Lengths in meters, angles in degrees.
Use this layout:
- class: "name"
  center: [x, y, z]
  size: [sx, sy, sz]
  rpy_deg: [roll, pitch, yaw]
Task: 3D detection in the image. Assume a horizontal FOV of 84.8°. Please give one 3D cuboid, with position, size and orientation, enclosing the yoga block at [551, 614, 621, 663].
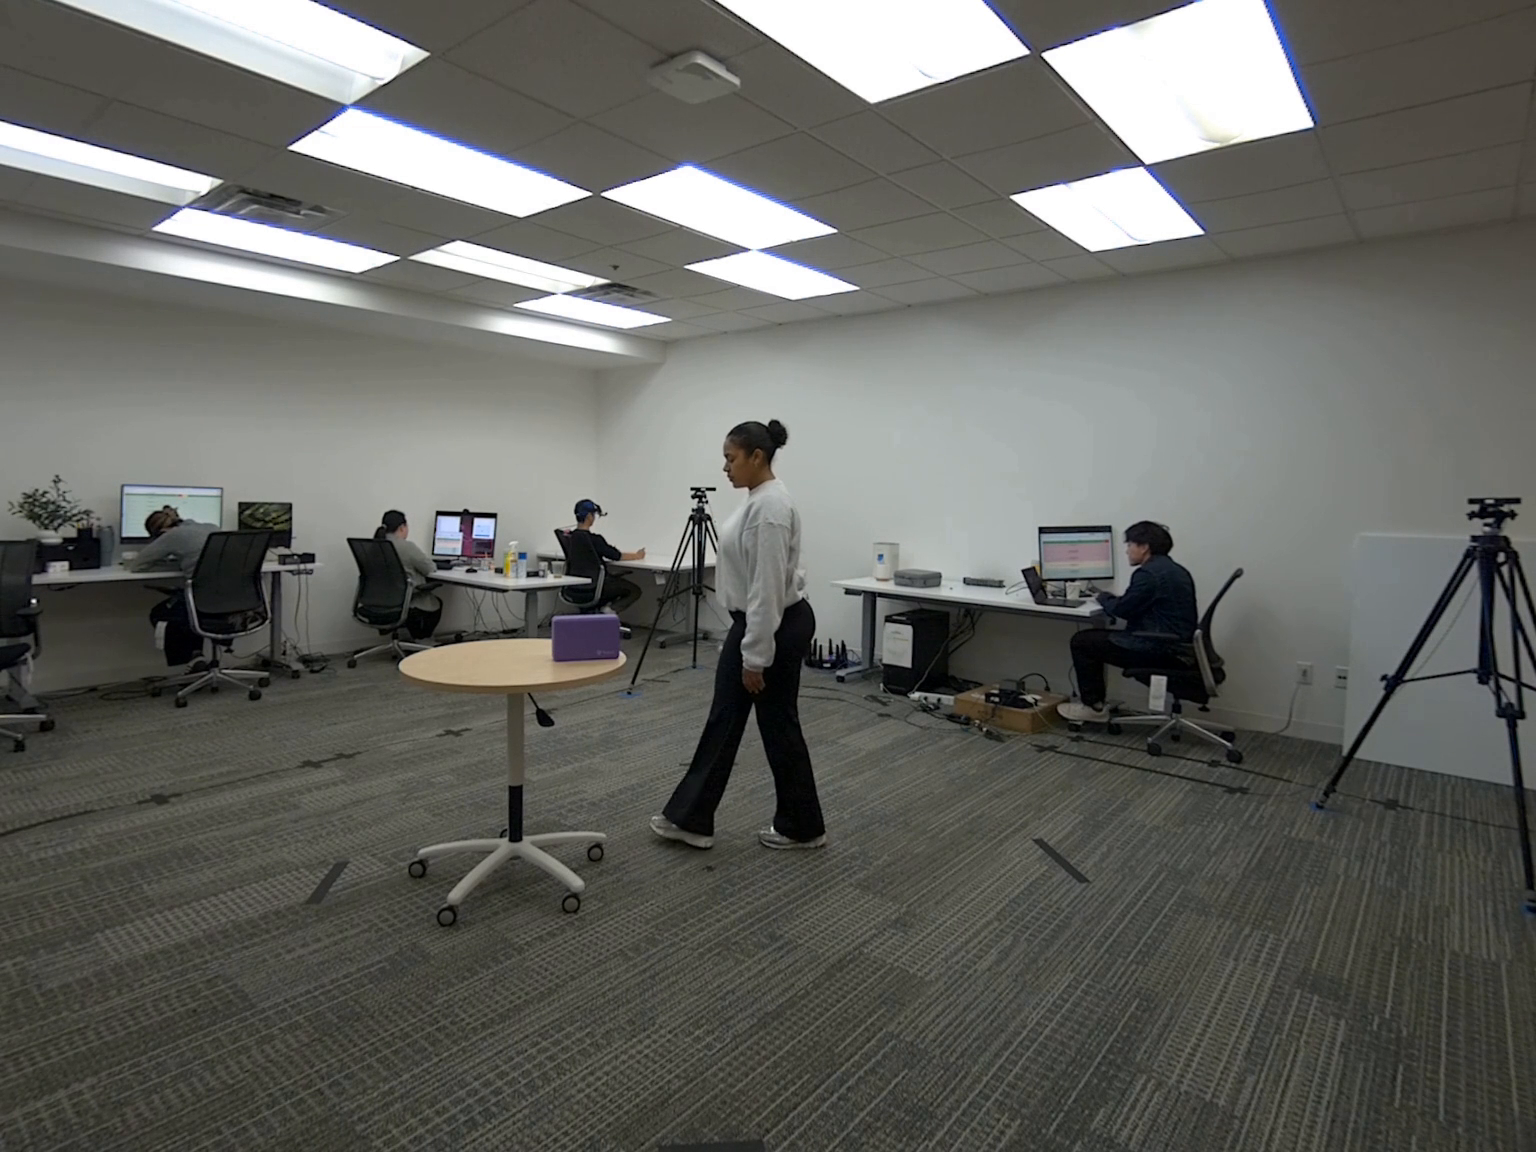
- class: "yoga block"
  center: [-0.655, 0.209, 2.989]
  size: [0.226, 0.148, 0.078]
  rpy_deg: [-2, 3, -15]
